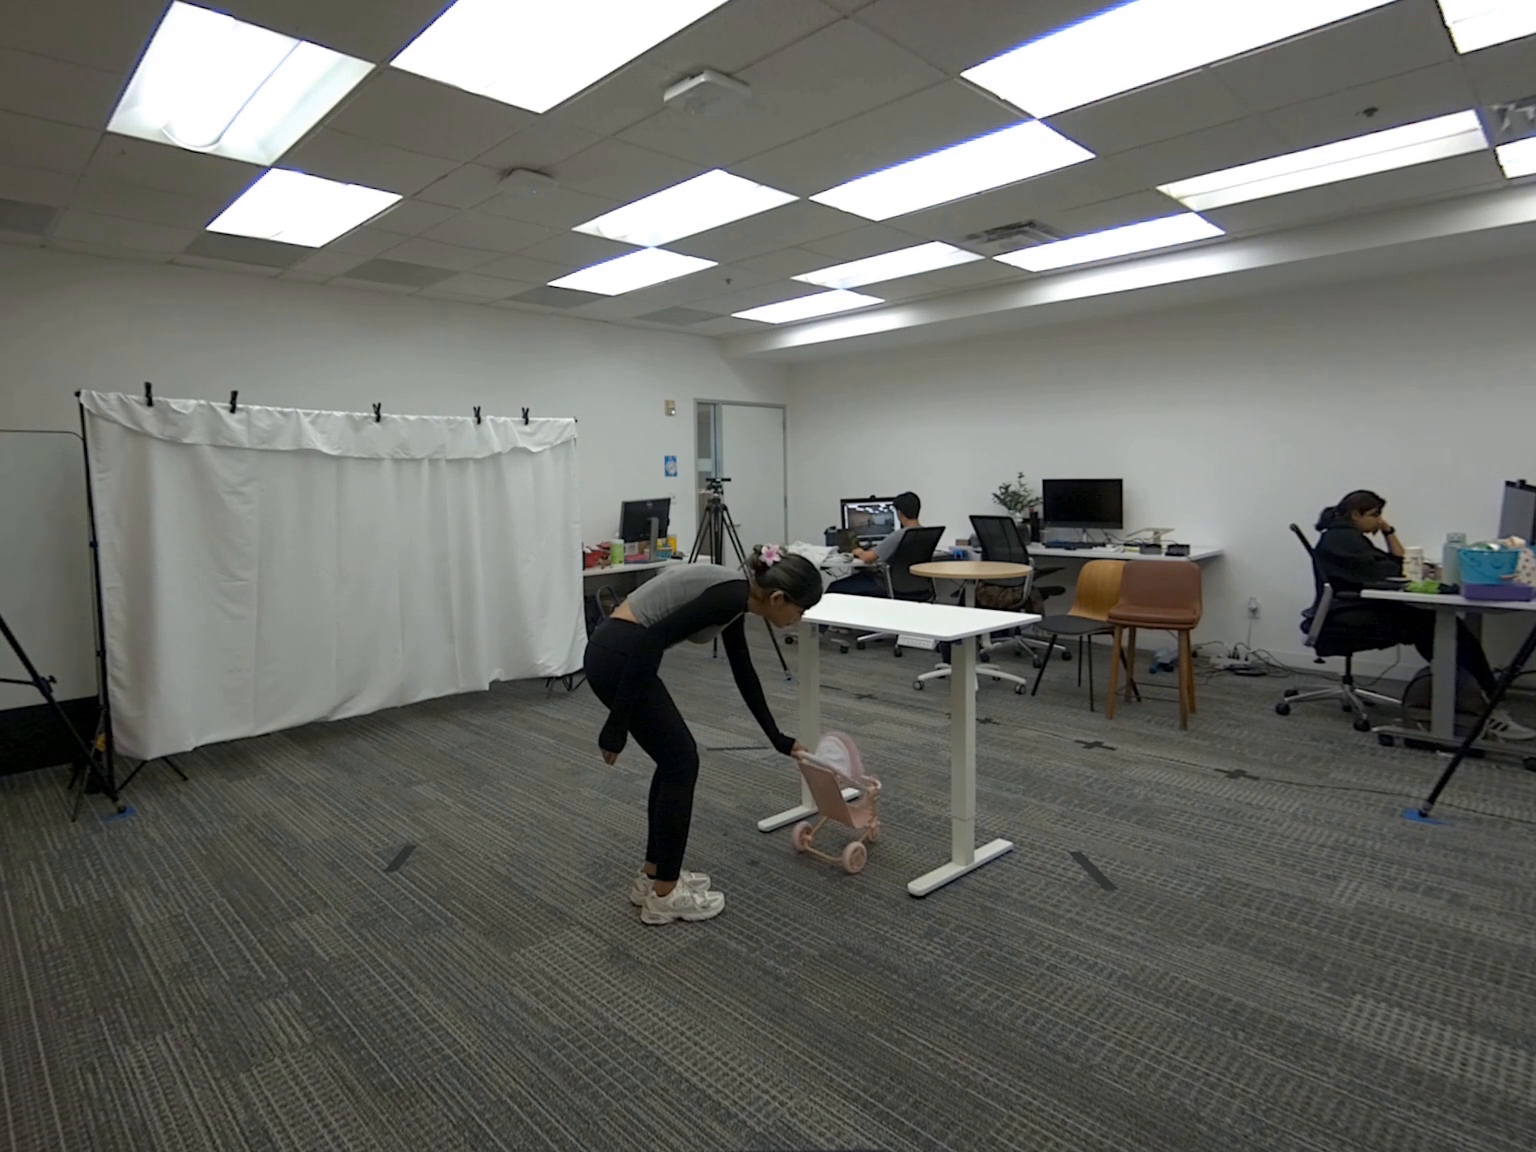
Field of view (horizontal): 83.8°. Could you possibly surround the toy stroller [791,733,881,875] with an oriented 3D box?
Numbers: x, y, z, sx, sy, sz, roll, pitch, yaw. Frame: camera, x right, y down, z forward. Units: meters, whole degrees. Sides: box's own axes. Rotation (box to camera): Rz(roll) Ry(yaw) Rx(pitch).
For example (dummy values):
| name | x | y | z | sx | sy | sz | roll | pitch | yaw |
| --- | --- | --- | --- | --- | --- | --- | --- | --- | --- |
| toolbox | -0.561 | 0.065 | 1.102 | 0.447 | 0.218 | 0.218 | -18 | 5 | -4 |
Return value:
| name | x | y | z | sx | sy | sz | roll | pitch | yaw |
| --- | --- | --- | --- | --- | --- | --- | --- | --- | --- |
| toy stroller | 0.265 | 0.807 | 3.135 | 0.336 | 0.528 | 0.290 | -21 | 16 | -35 |
